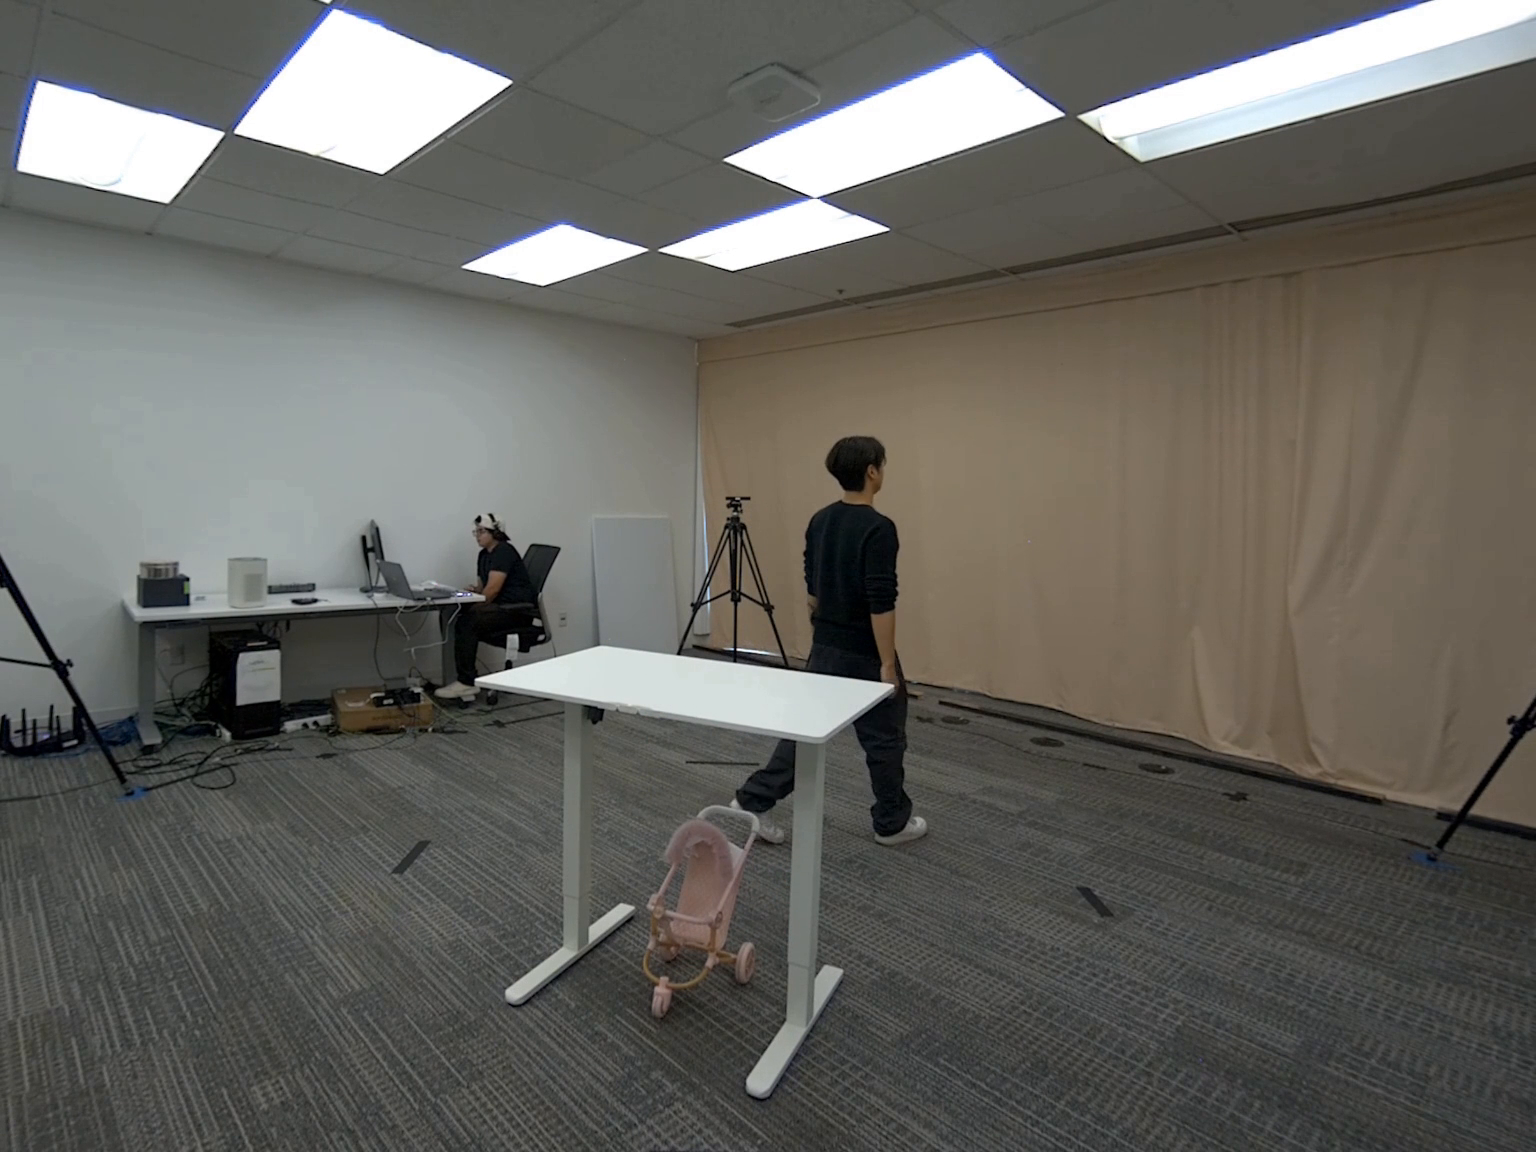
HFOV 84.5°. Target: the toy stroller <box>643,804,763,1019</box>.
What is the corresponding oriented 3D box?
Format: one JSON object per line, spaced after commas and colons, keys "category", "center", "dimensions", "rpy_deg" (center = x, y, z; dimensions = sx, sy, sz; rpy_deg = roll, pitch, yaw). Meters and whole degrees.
{"category": "toy stroller", "center": [-0.208, 0.948, 2.408], "dimensions": [0.287, 0.538, 0.332], "rpy_deg": [3, -12, 29]}
